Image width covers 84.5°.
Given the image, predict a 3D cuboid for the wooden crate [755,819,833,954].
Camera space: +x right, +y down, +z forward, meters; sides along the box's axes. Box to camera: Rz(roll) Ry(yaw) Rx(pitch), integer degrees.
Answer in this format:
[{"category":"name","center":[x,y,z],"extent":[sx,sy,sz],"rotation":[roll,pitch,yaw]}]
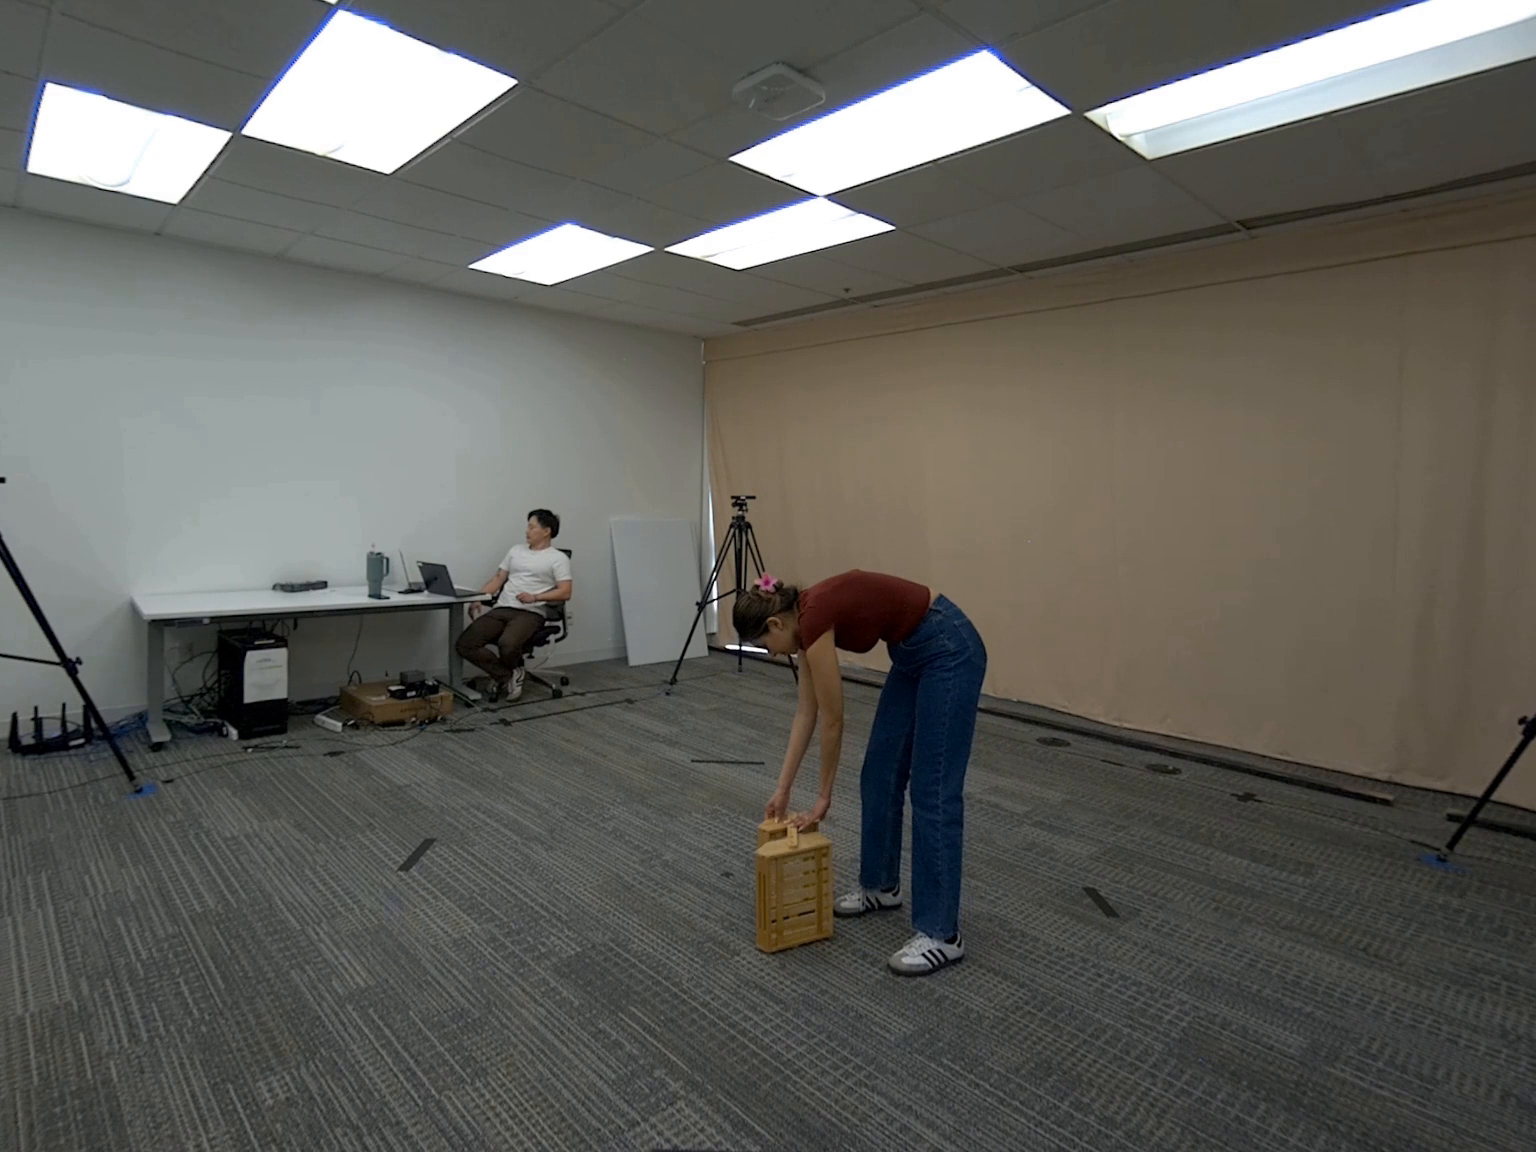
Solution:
[{"category":"wooden crate","center":[0.049,0.973,2.724],"extent":[0.297,0.323,0.279],"rotation":[-2,4,-26]}]
